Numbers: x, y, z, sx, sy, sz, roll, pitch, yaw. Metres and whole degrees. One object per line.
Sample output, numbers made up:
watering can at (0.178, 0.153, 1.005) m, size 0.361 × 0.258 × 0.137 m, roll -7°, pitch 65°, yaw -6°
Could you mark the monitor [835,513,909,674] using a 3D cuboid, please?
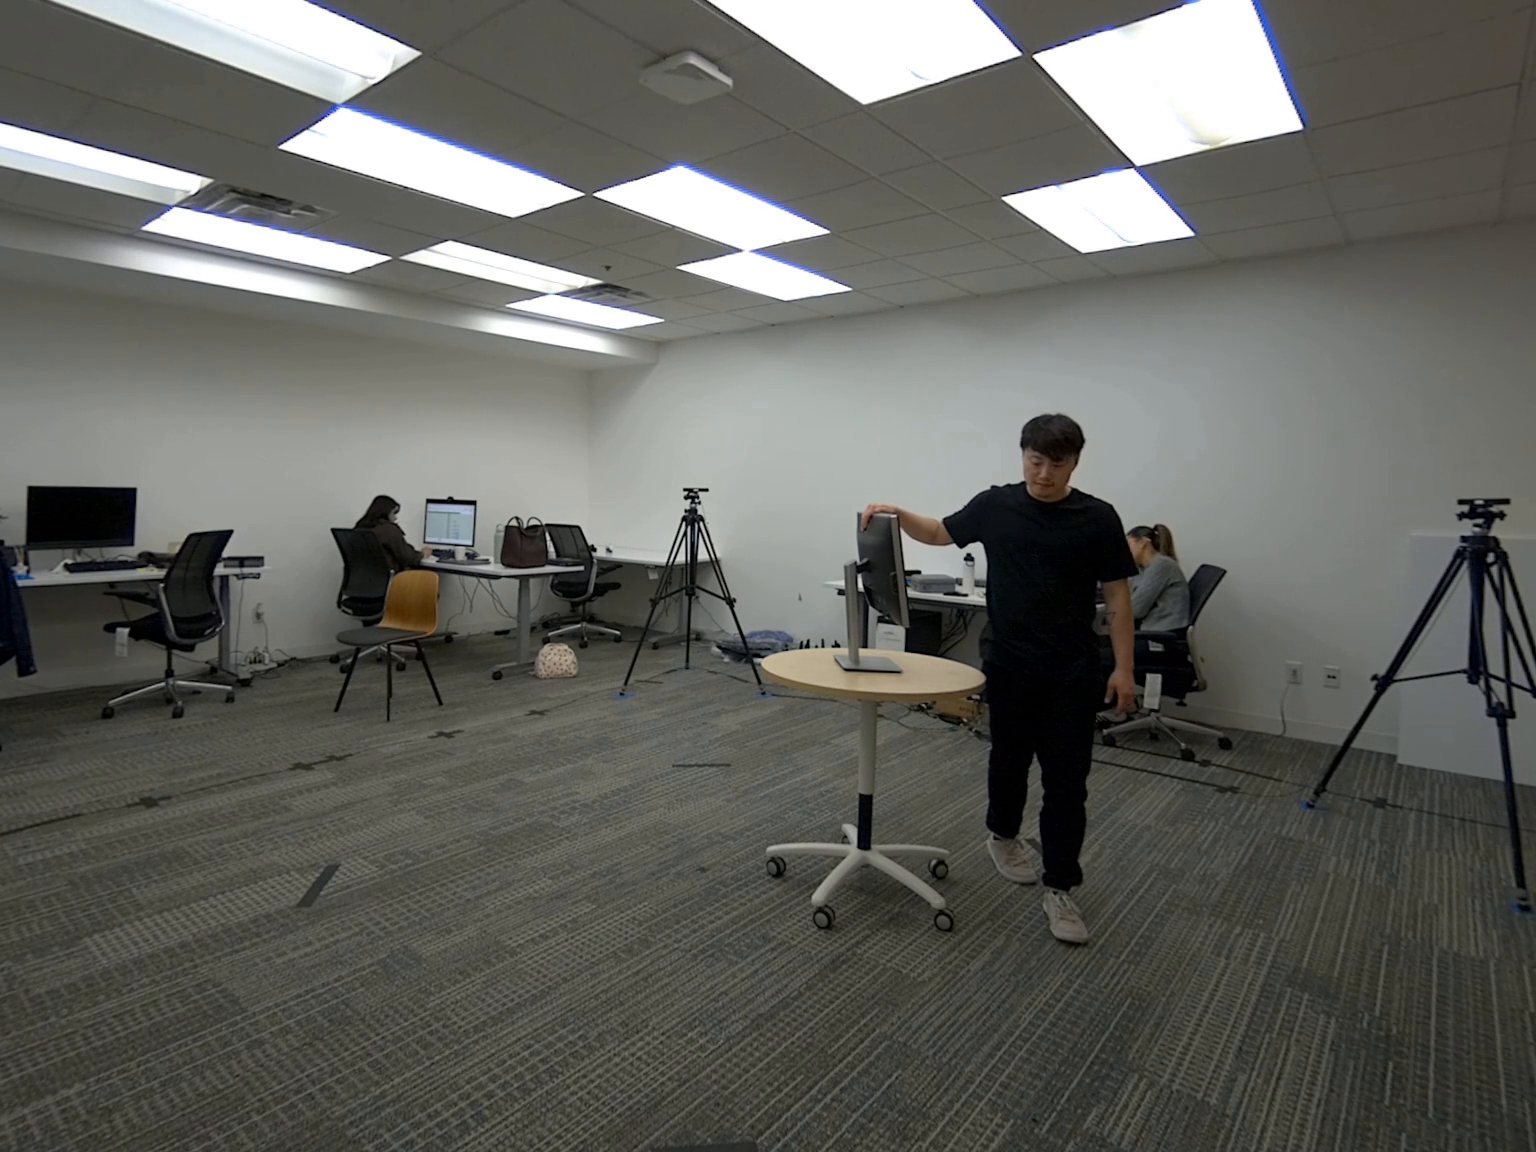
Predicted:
monitor at (0.348, 0.051, 2.997) m, size 0.186 × 0.521 × 0.544 m, roll 4°, pitch 4°, yaw -7°
